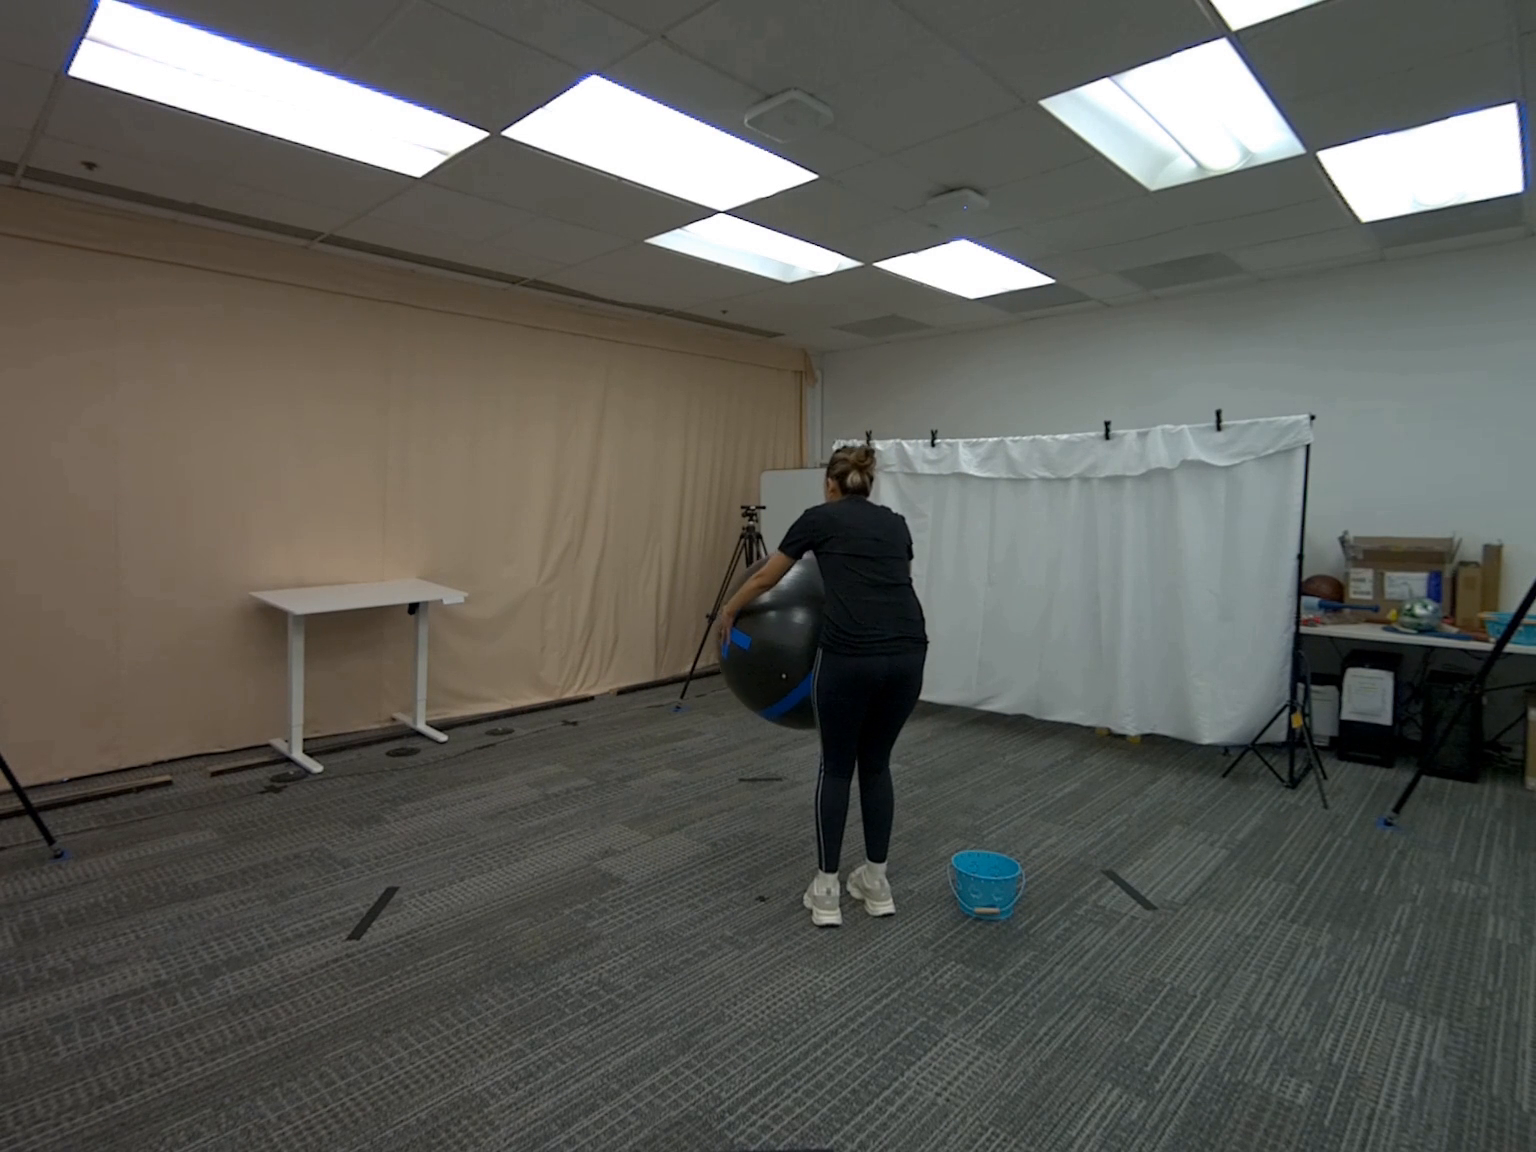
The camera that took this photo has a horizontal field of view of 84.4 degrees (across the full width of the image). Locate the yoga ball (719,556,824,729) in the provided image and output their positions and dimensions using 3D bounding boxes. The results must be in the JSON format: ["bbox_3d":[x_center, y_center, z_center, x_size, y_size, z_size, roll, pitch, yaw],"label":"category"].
[{"bbox_3d":[0.155,0.267,3.534,0.757,0.756,0.761,0,4,-2],"label":"yoga ball"}]
